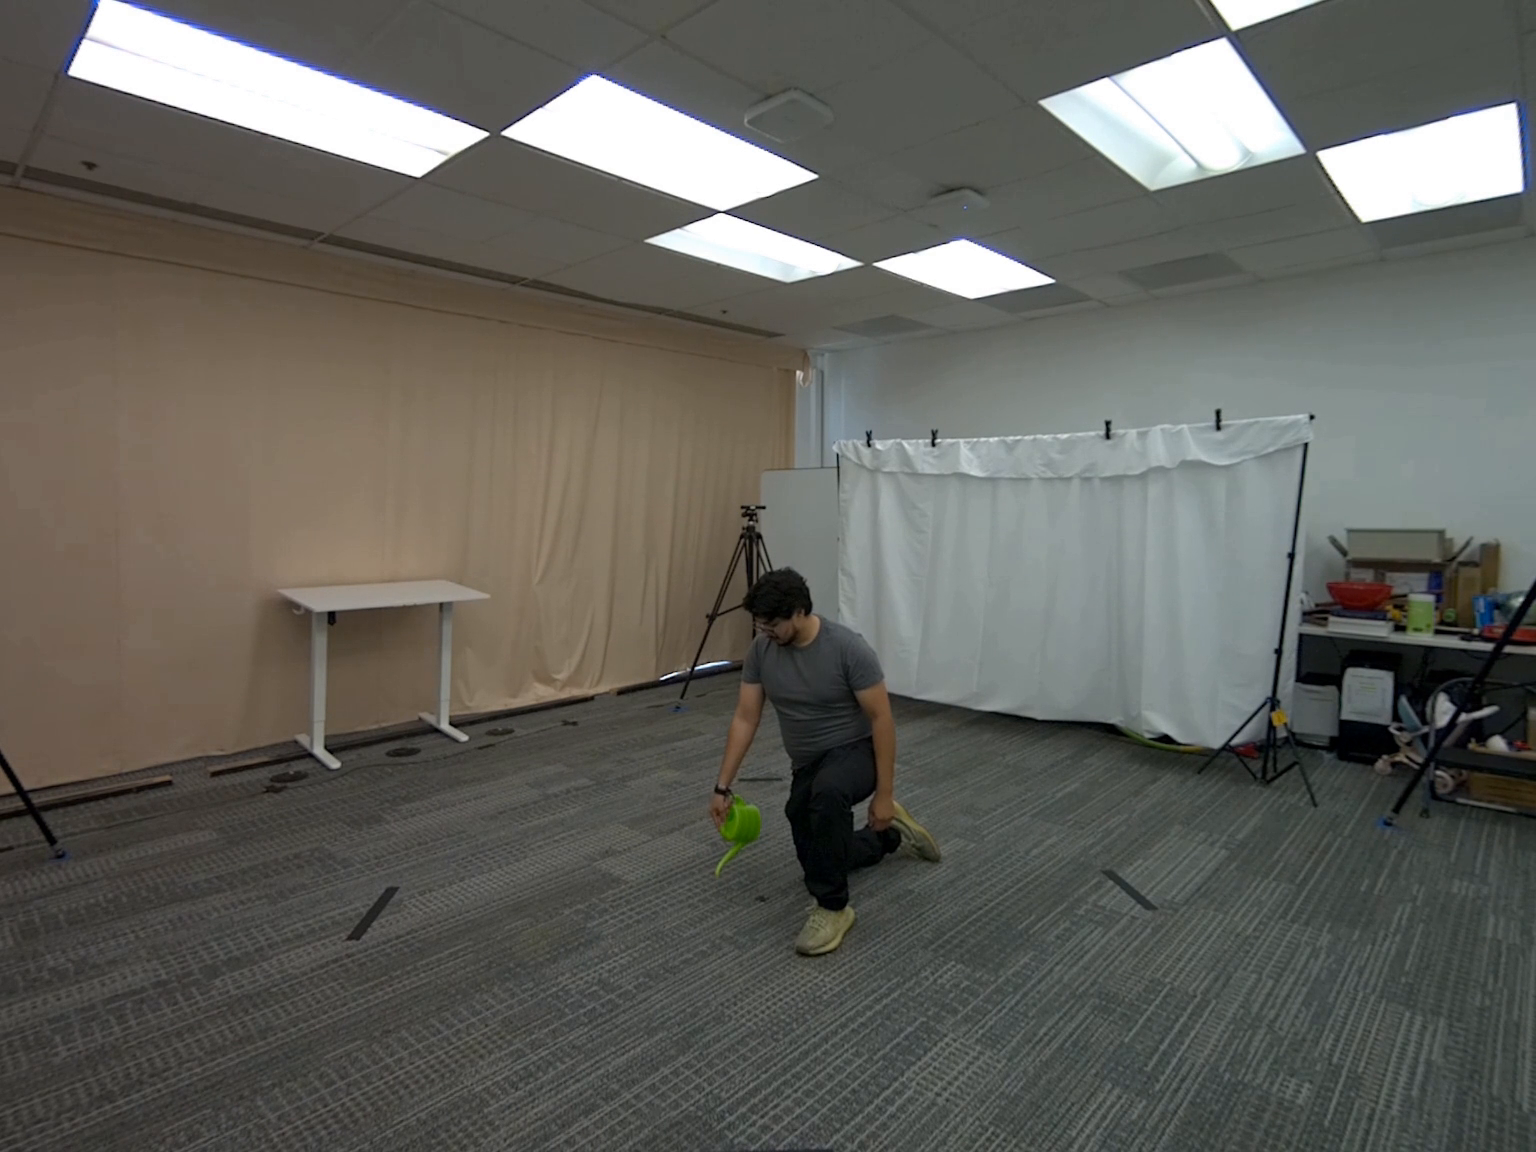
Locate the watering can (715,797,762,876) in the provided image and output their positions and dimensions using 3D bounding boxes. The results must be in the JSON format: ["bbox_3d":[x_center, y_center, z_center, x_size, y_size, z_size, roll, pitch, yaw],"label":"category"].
[{"bbox_3d":[-0.120,0.956,3.081,0.101,0.279,0.170,8,-10,43],"label":"watering can"}]
